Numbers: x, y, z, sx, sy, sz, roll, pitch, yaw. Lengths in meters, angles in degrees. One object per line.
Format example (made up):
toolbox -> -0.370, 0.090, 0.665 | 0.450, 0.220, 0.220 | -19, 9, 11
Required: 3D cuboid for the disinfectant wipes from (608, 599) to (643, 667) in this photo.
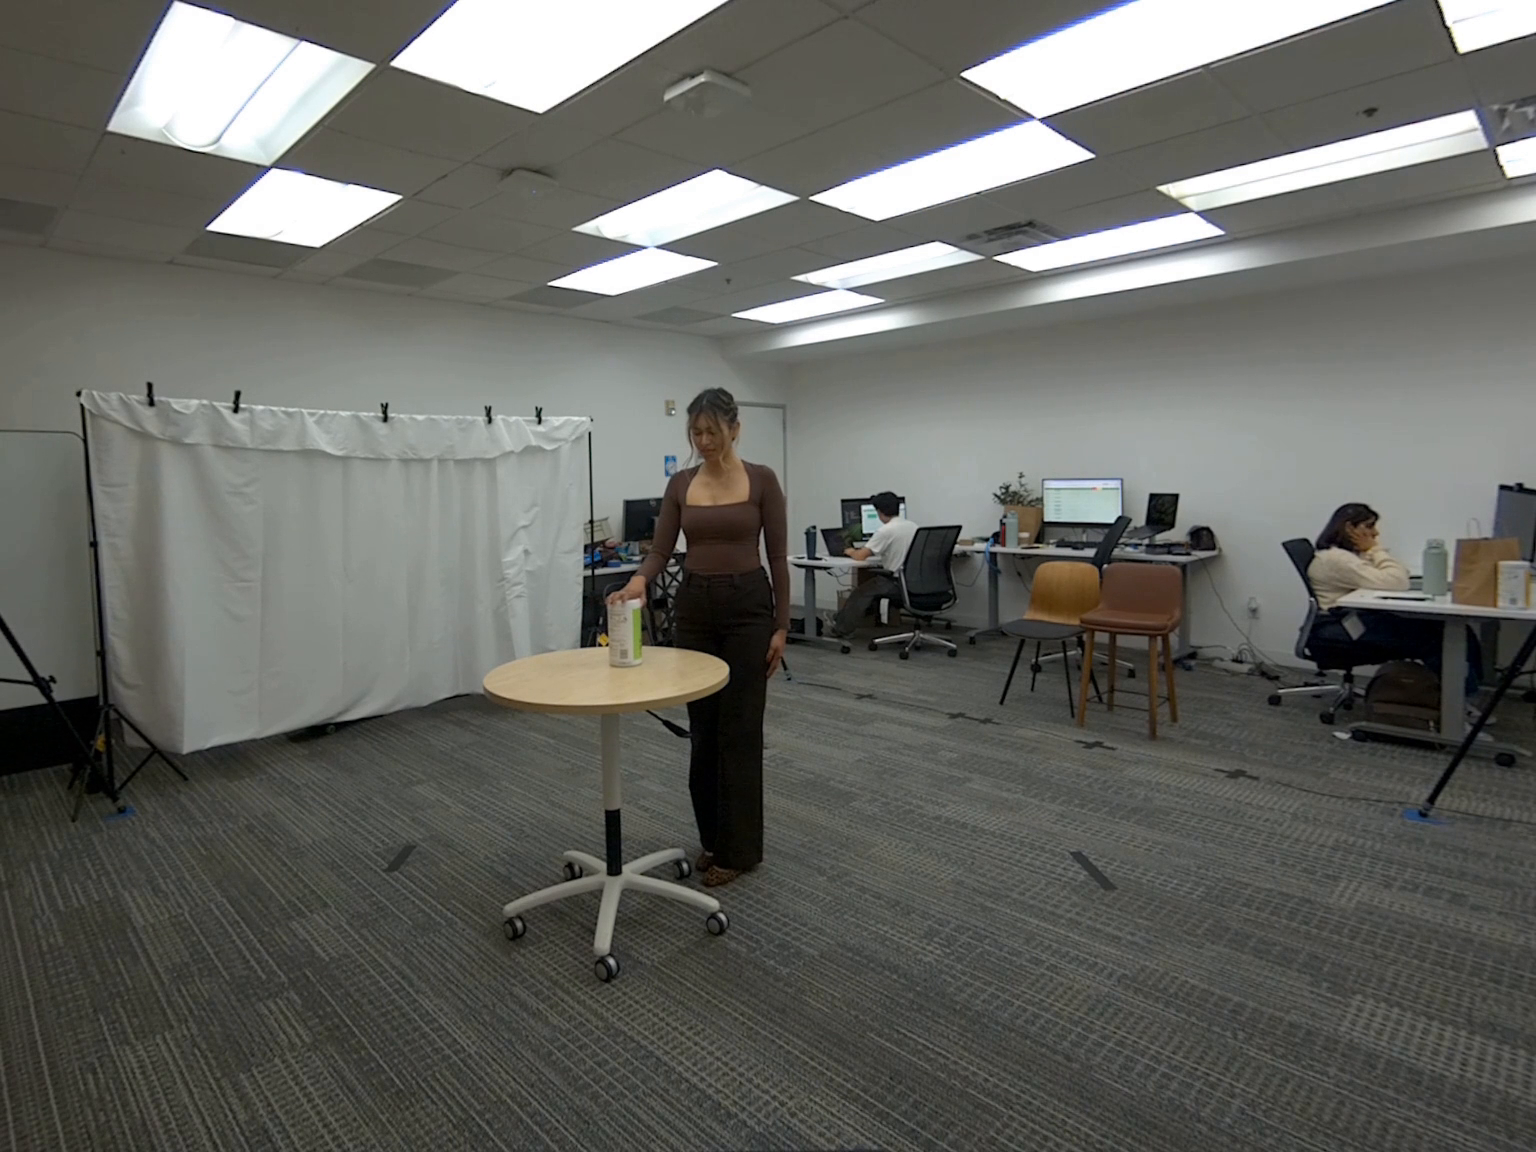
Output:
disinfectant wipes -> -0.464, 0.182, 2.793 | 0.118, 0.217, 0.118 | 0, 2, -2
